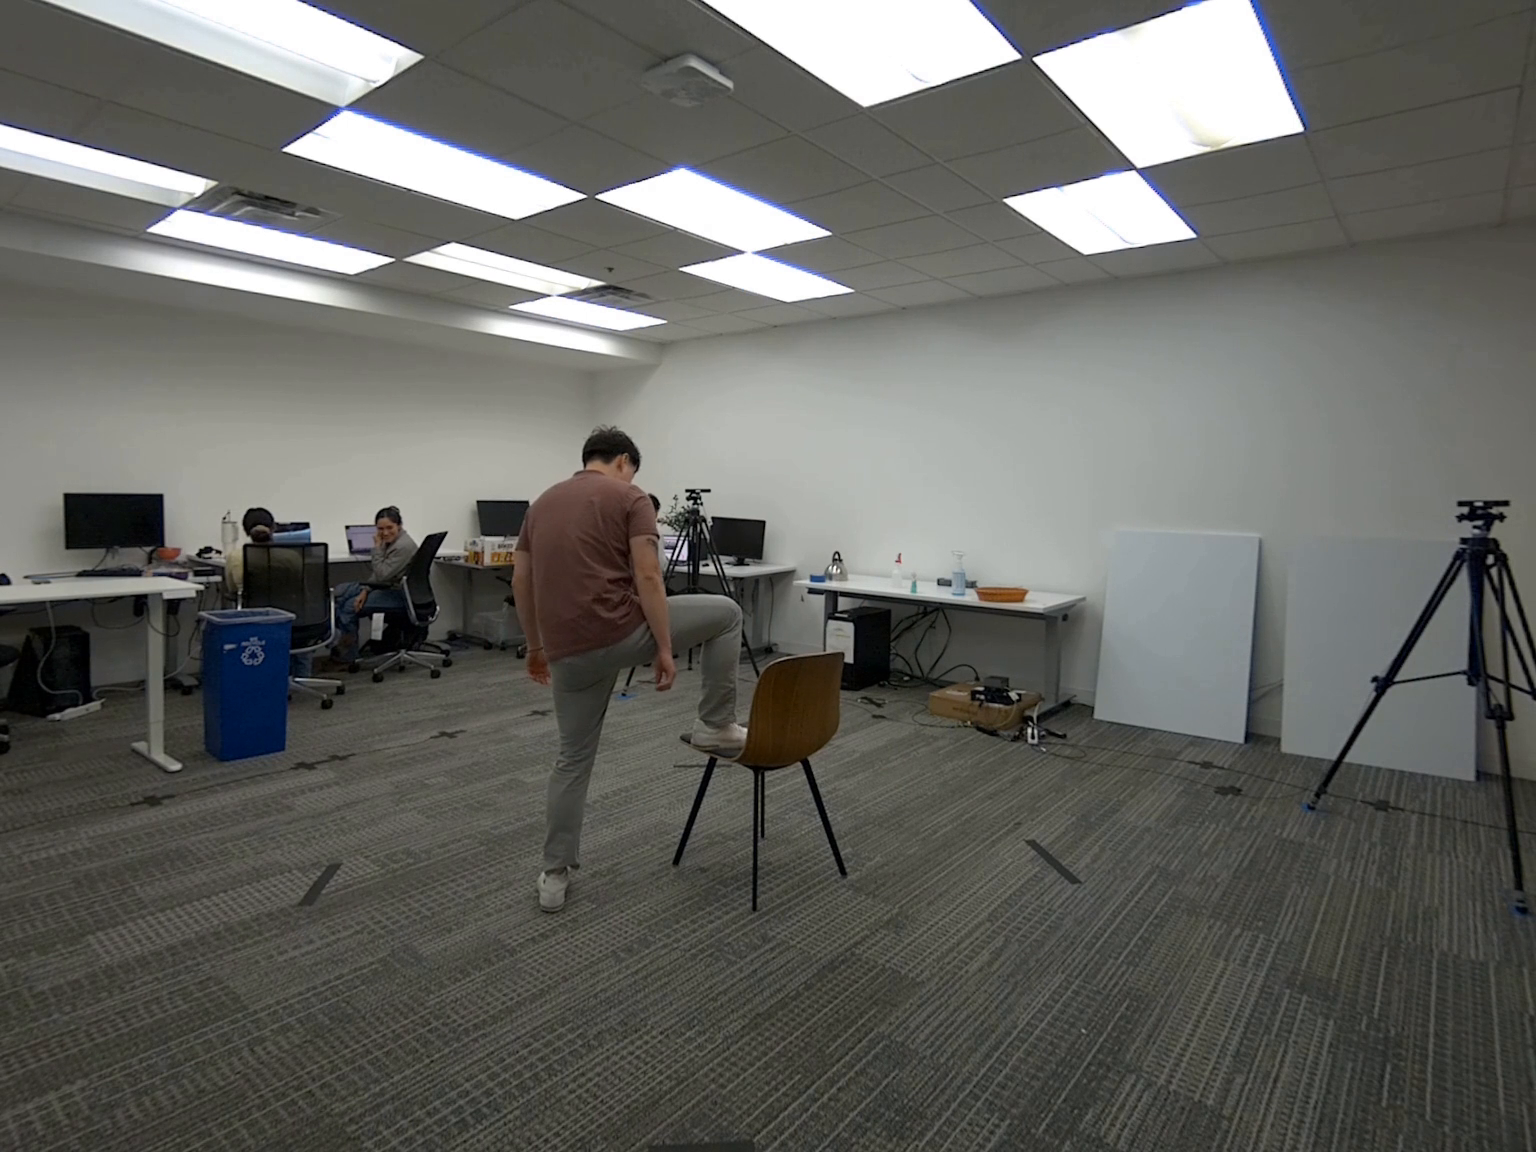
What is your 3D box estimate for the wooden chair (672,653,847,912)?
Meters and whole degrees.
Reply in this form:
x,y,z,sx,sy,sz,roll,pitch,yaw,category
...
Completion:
x,y,z,sx,sy,sz,roll,pitch,yaw,category
-0.040,0.652,3.098,0.463,0.872,0.542,-2,9,-42,wooden chair
